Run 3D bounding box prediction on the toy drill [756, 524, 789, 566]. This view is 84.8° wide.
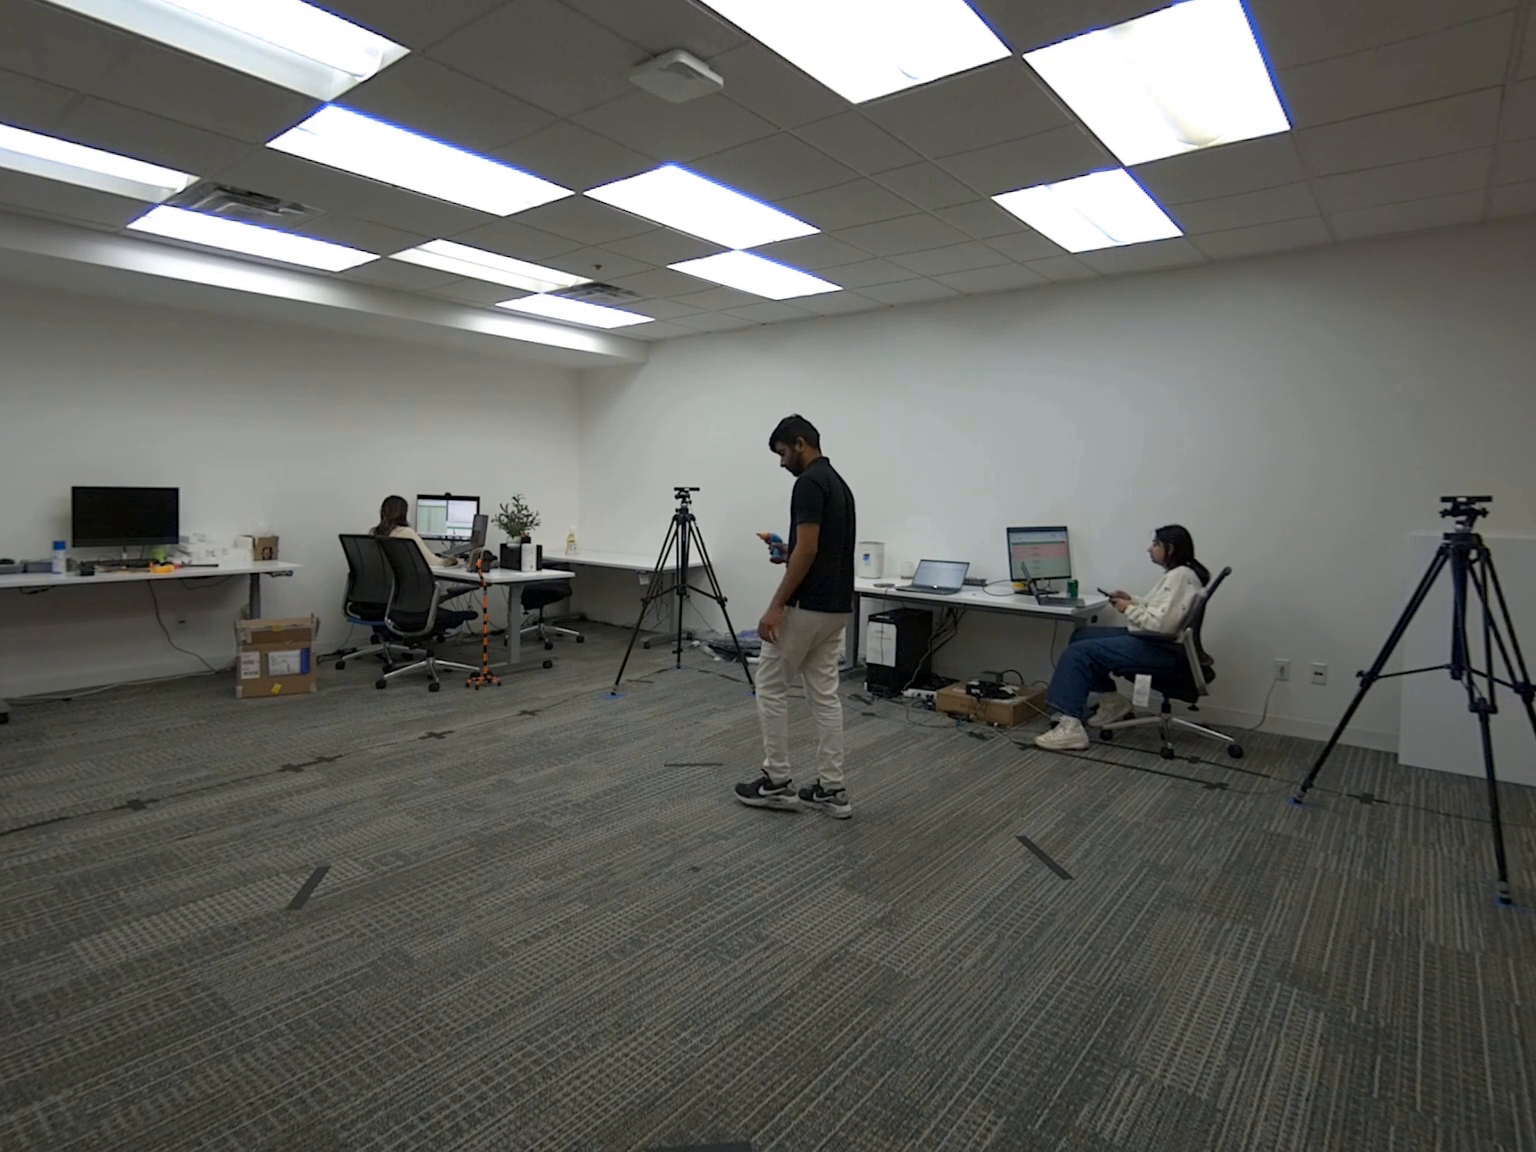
[{"bbox_3d":[0.031,-0.151,4.023,0.062,0.150,0.163,-32,-35,30],"label":"toy drill"}]
